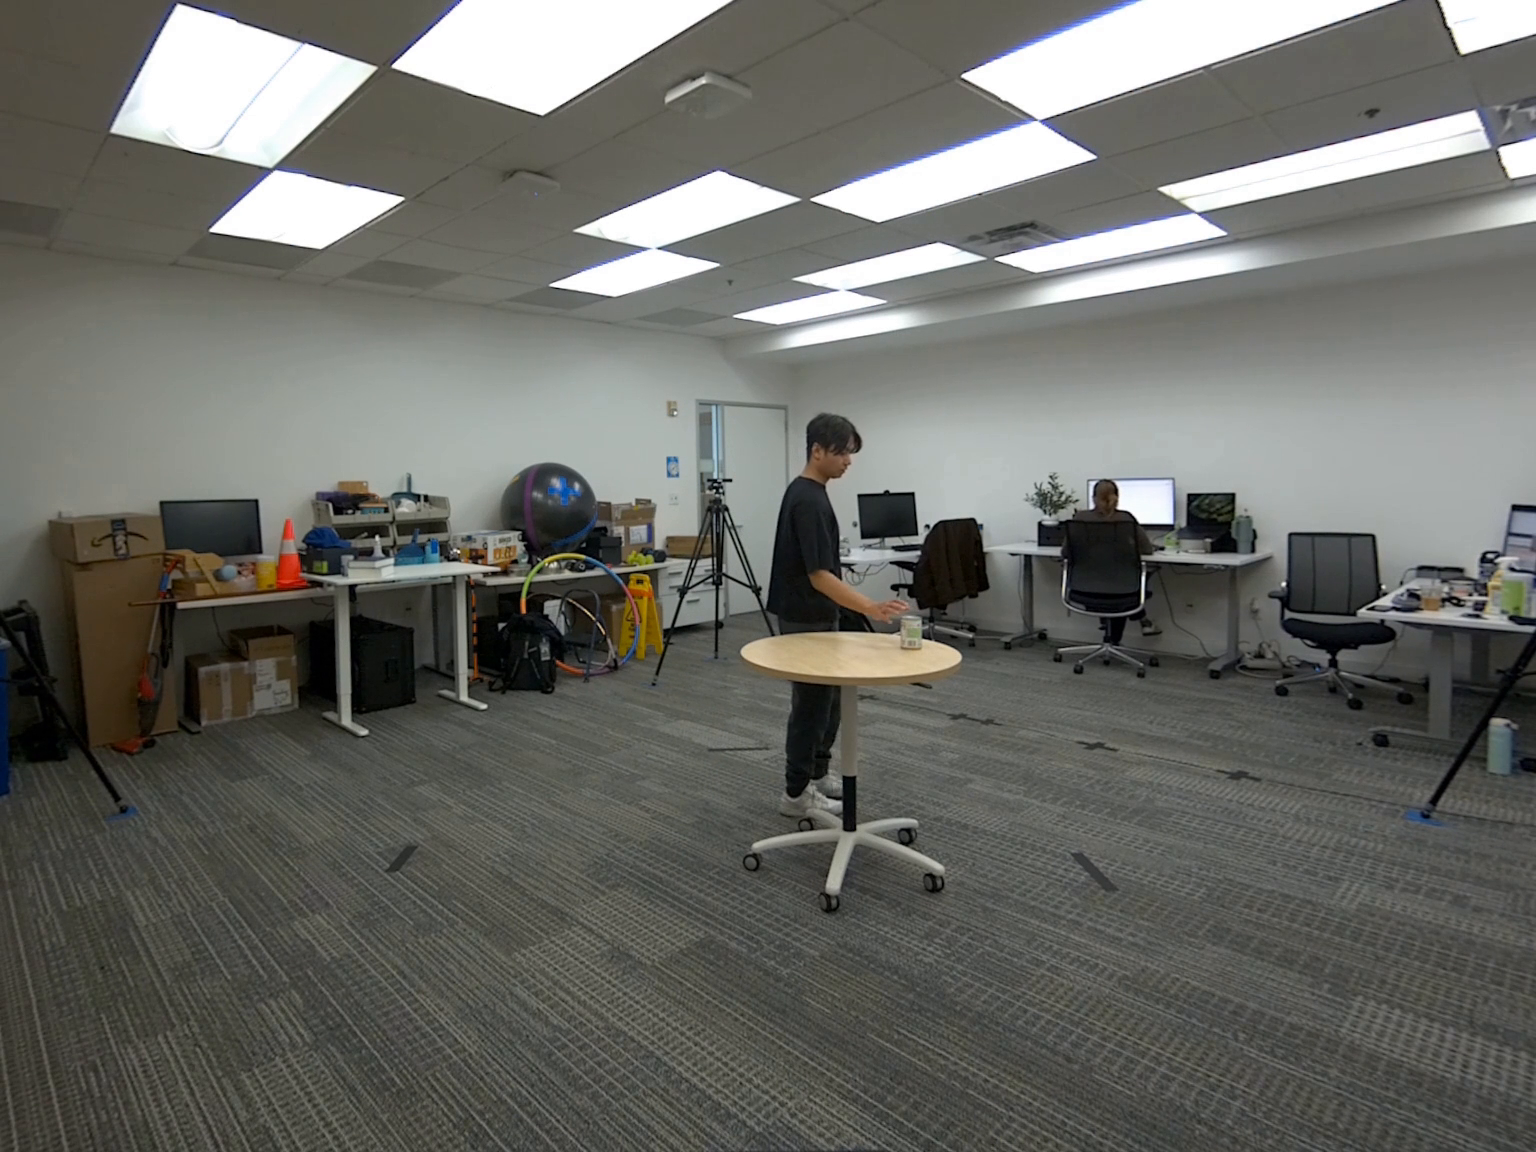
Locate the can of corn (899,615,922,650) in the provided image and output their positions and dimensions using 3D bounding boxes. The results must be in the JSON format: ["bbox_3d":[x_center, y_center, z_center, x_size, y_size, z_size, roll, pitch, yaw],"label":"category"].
[{"bbox_3d":[0.517,0.204,3.059,0.074,0.110,0.075,0,6,-2],"label":"can of corn"}]
